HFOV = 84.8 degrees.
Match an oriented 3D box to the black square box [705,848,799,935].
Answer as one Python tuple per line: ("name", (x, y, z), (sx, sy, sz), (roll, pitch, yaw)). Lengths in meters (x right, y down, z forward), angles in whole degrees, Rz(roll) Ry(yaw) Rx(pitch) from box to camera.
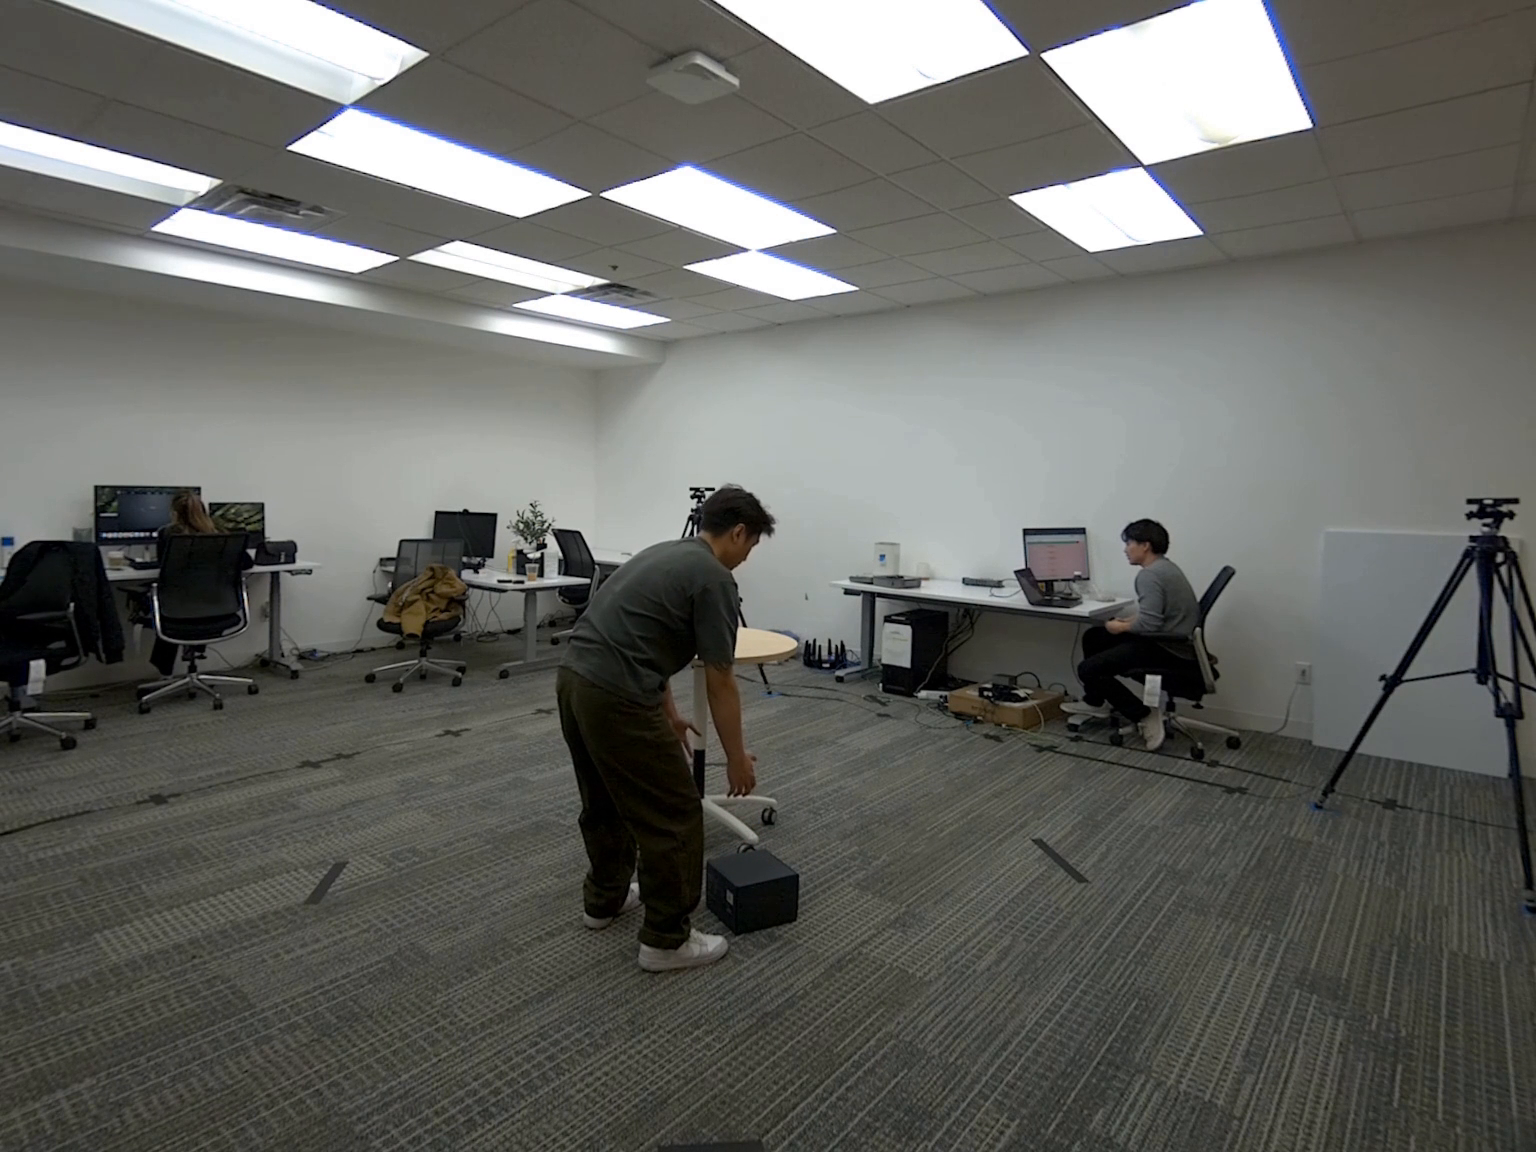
("black square box", (-0.061, 1.019, 2.777), (0.222, 0.155, 0.223), (-1, 5, -30))
